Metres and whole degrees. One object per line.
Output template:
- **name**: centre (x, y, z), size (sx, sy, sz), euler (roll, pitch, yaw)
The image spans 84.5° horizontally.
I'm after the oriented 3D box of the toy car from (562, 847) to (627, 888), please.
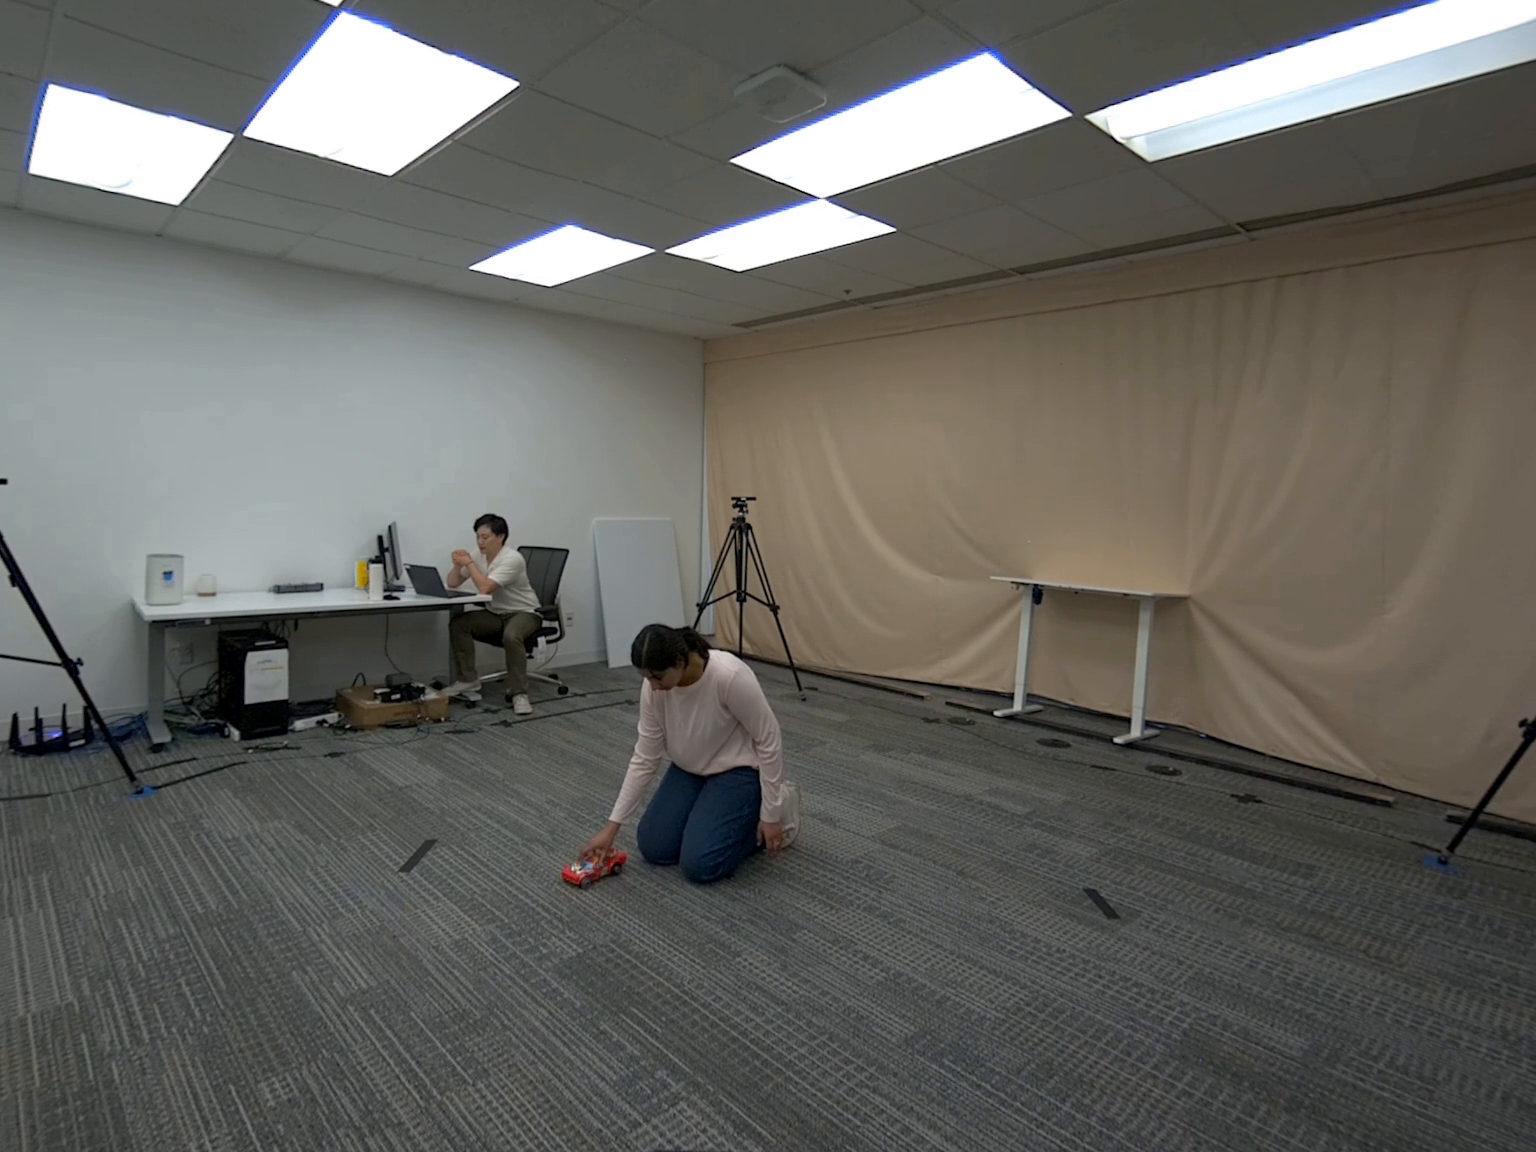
- **toy car**: centre (-0.638, 1.067, 3.079), size (0.133, 0.082, 0.251), euler (3, 16, 39)
